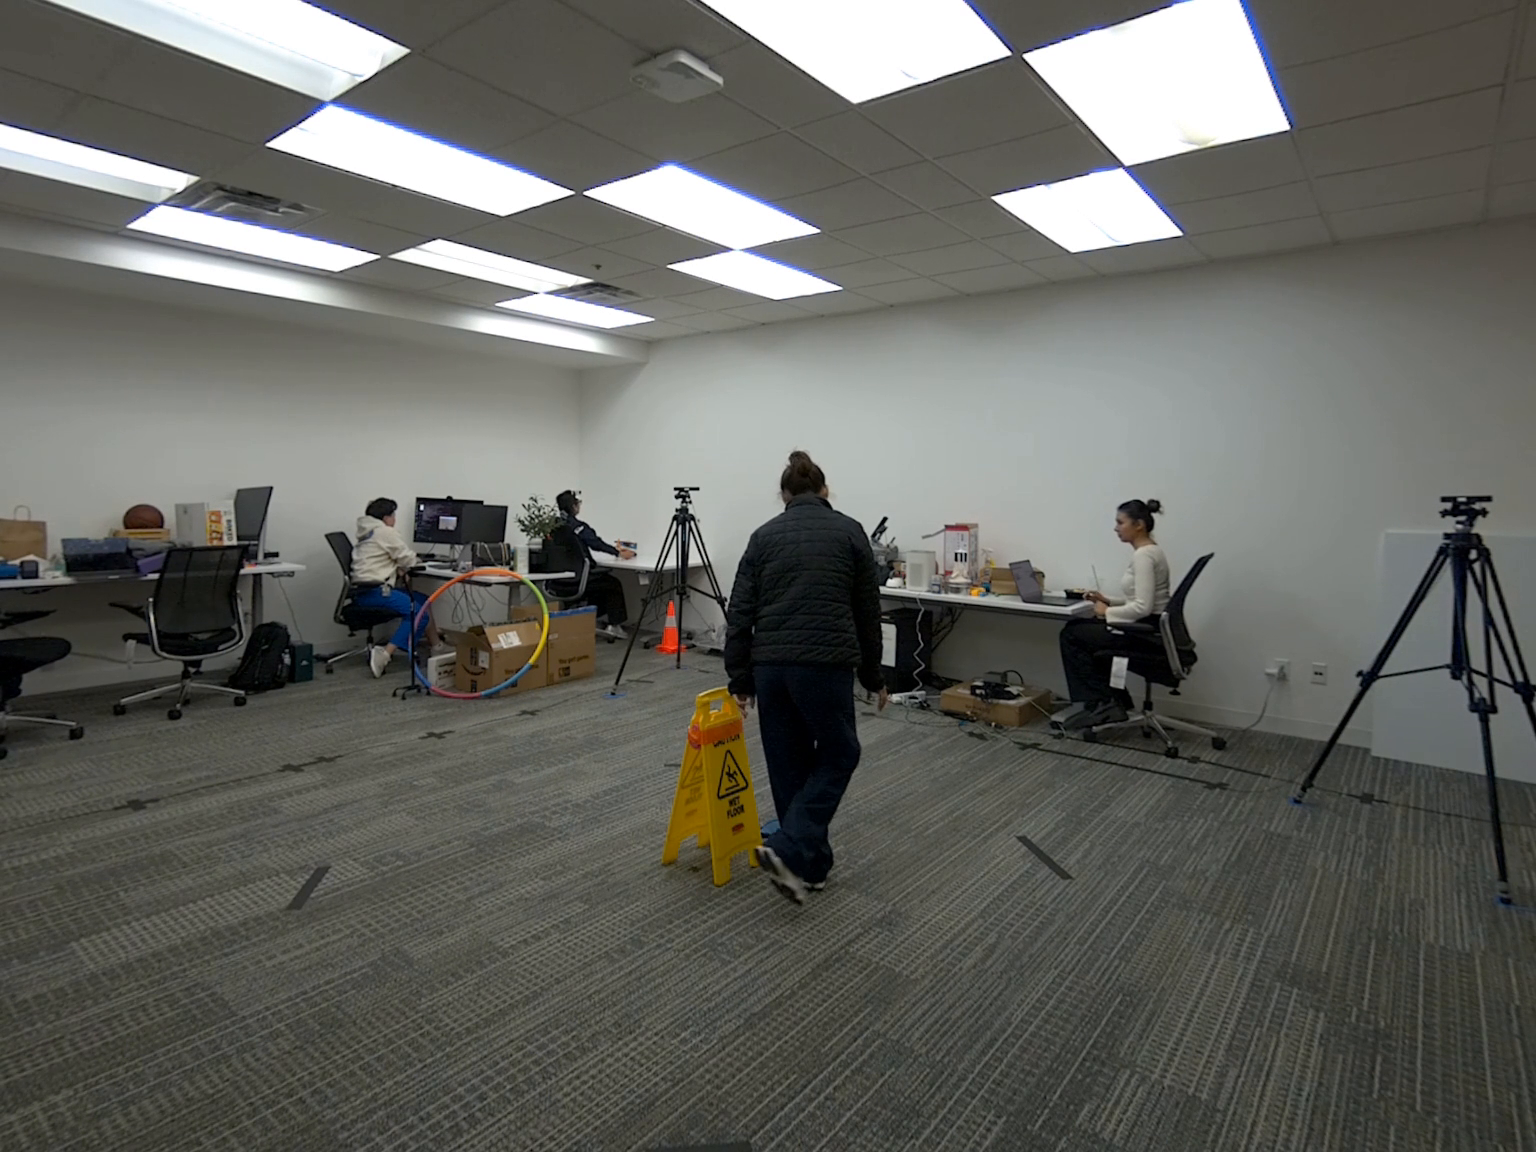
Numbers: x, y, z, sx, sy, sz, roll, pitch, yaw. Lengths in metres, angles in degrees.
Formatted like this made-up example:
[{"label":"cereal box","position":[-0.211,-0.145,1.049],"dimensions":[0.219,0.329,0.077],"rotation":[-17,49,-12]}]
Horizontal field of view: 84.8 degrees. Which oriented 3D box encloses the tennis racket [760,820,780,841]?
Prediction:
[{"label":"tennis racket","position":[0.057,1.011,3.449],"dimensions":[0.424,0.032,0.218],"rotation":[1,4,-20]}]
